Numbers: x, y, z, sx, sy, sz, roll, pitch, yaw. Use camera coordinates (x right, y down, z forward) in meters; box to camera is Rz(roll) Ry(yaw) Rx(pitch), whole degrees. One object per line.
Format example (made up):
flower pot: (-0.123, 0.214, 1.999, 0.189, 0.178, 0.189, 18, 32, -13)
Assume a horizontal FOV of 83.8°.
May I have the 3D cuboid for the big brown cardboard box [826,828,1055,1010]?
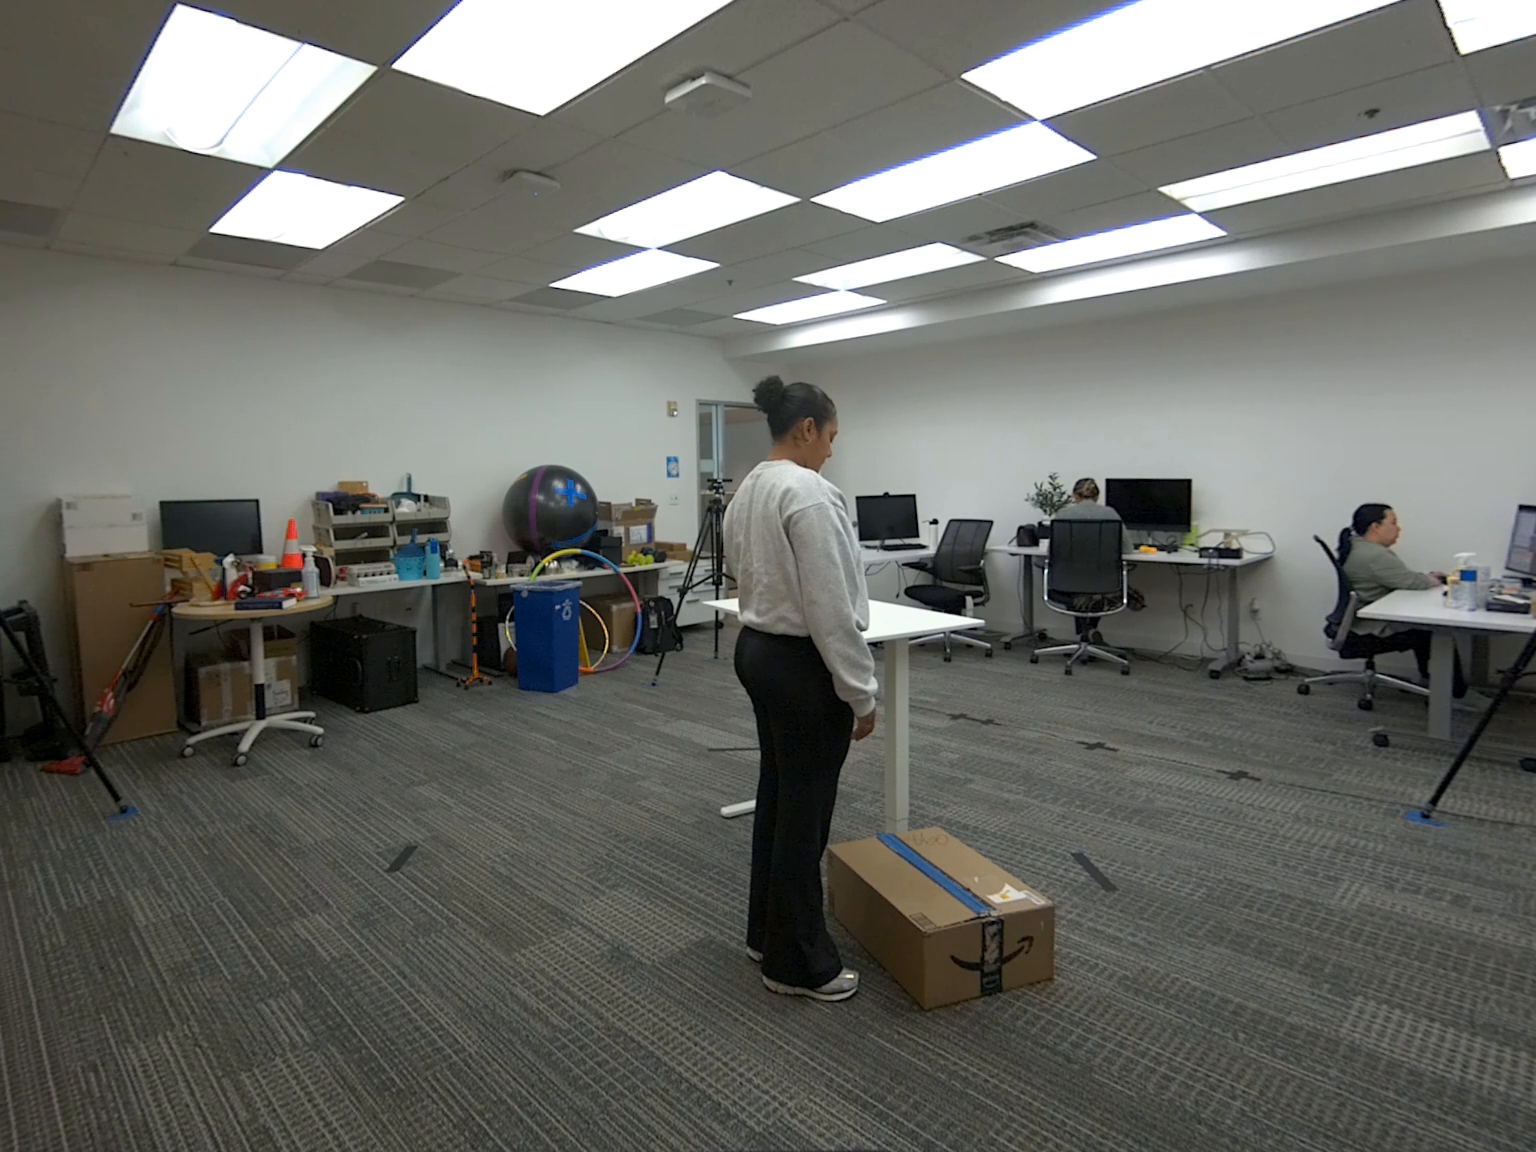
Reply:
big brown cardboard box: (0.498, 0.990, 2.547, 0.410, 0.232, 0.602, -3, 6, -22)
